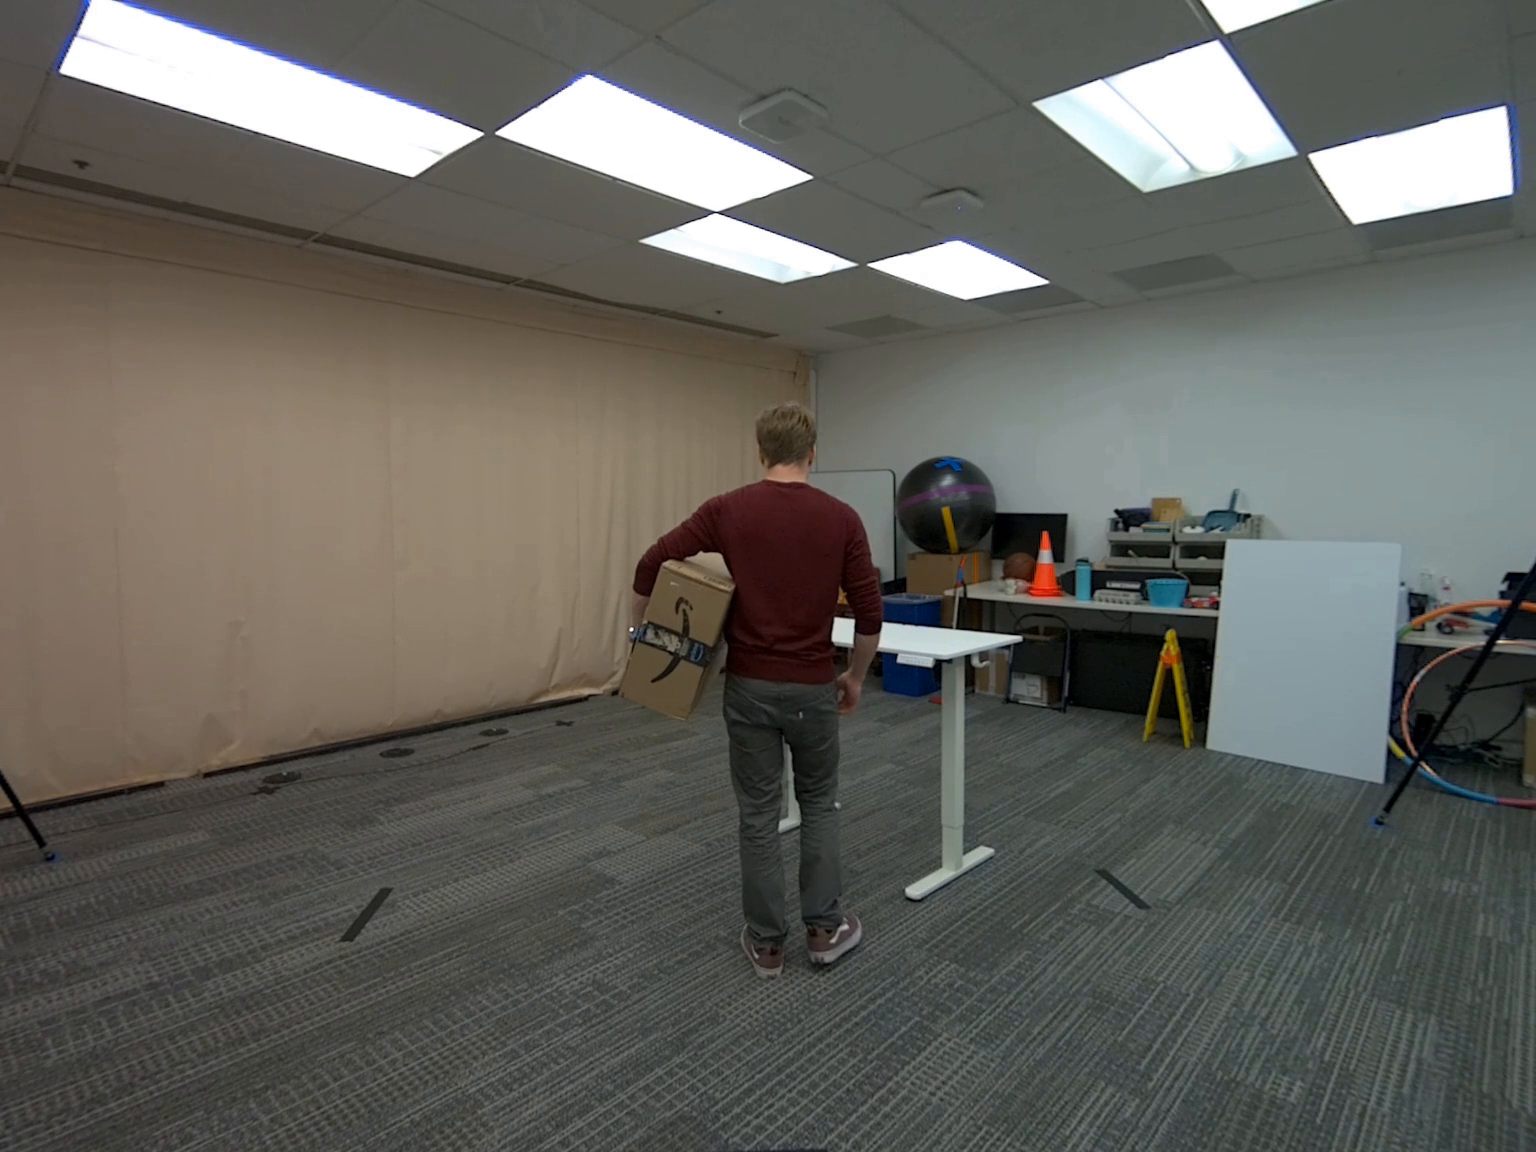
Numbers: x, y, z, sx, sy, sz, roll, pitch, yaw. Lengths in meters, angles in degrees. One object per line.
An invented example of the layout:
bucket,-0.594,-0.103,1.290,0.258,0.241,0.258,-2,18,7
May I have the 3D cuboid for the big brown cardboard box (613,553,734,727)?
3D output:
big brown cardboard box,-0.235,0.159,2.676,0.235,0.417,0.585,19,7,5
